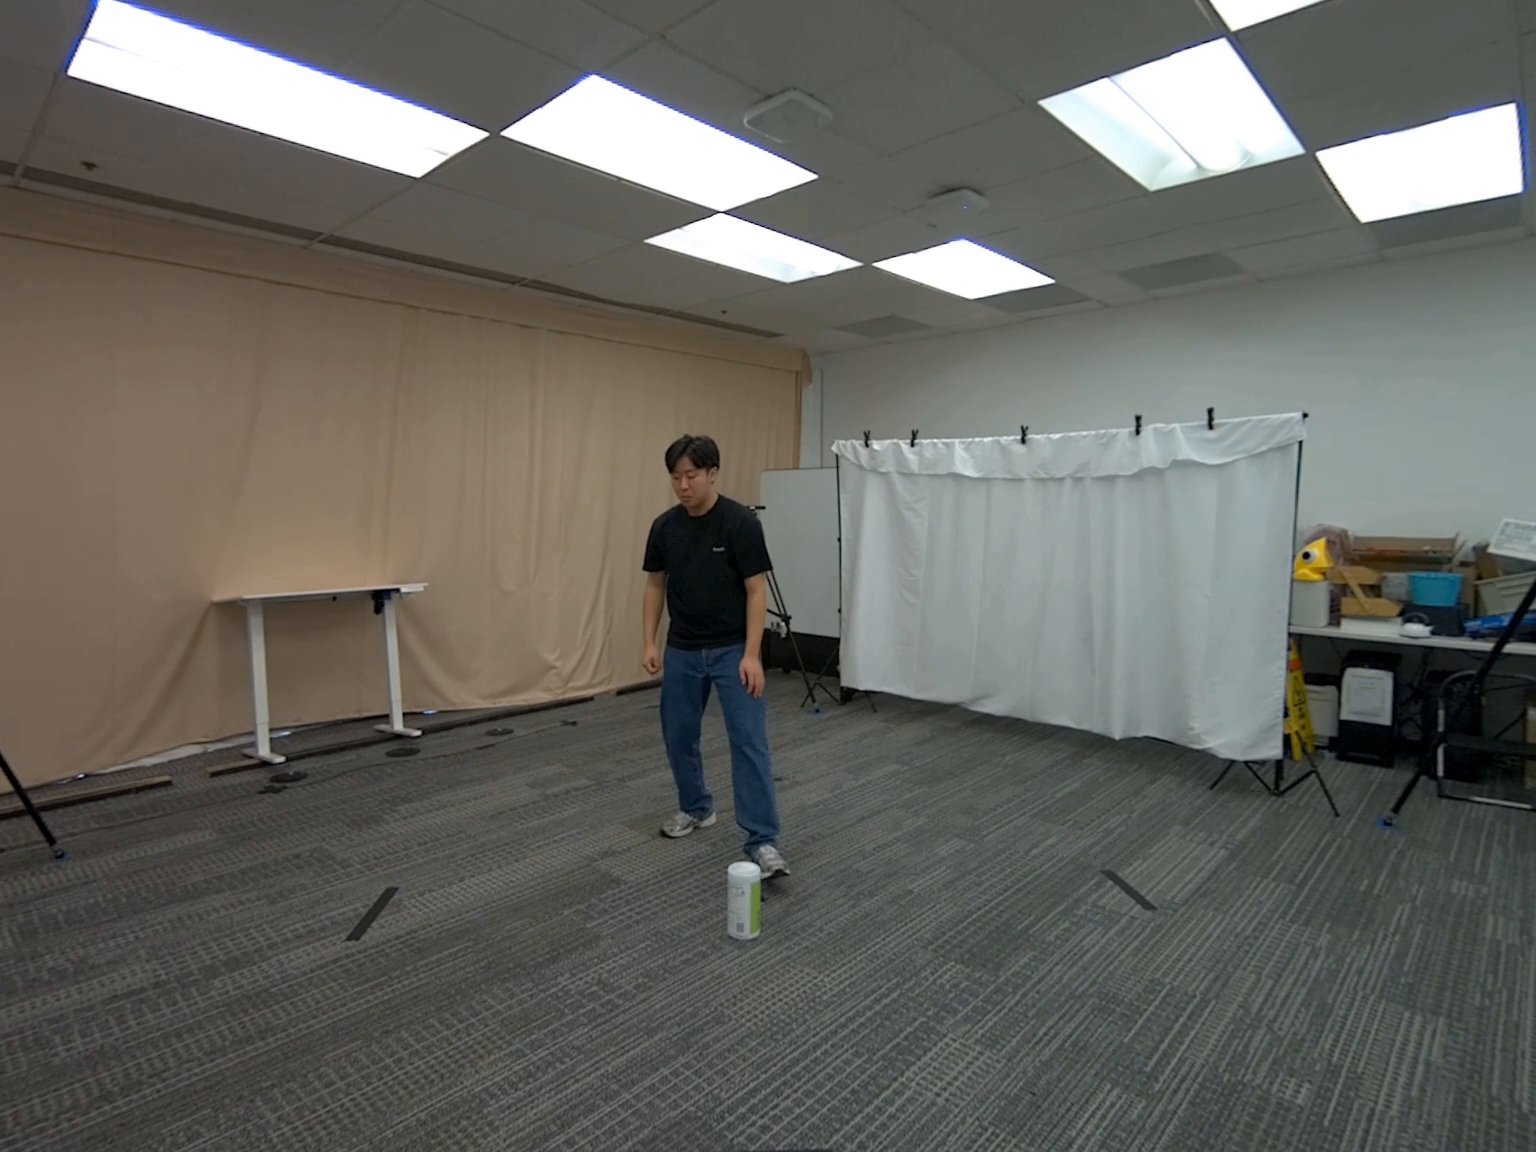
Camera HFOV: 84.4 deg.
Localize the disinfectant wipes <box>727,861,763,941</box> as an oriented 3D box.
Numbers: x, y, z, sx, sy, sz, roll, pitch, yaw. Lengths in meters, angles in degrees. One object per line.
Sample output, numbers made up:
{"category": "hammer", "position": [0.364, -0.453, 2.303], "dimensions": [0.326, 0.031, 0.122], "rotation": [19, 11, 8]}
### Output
{"category": "disinfectant wipes", "position": [-0.082, 1.050, 2.736], "dimensions": [0.117, 0.217, 0.118], "rotation": [4, 4, -2]}
